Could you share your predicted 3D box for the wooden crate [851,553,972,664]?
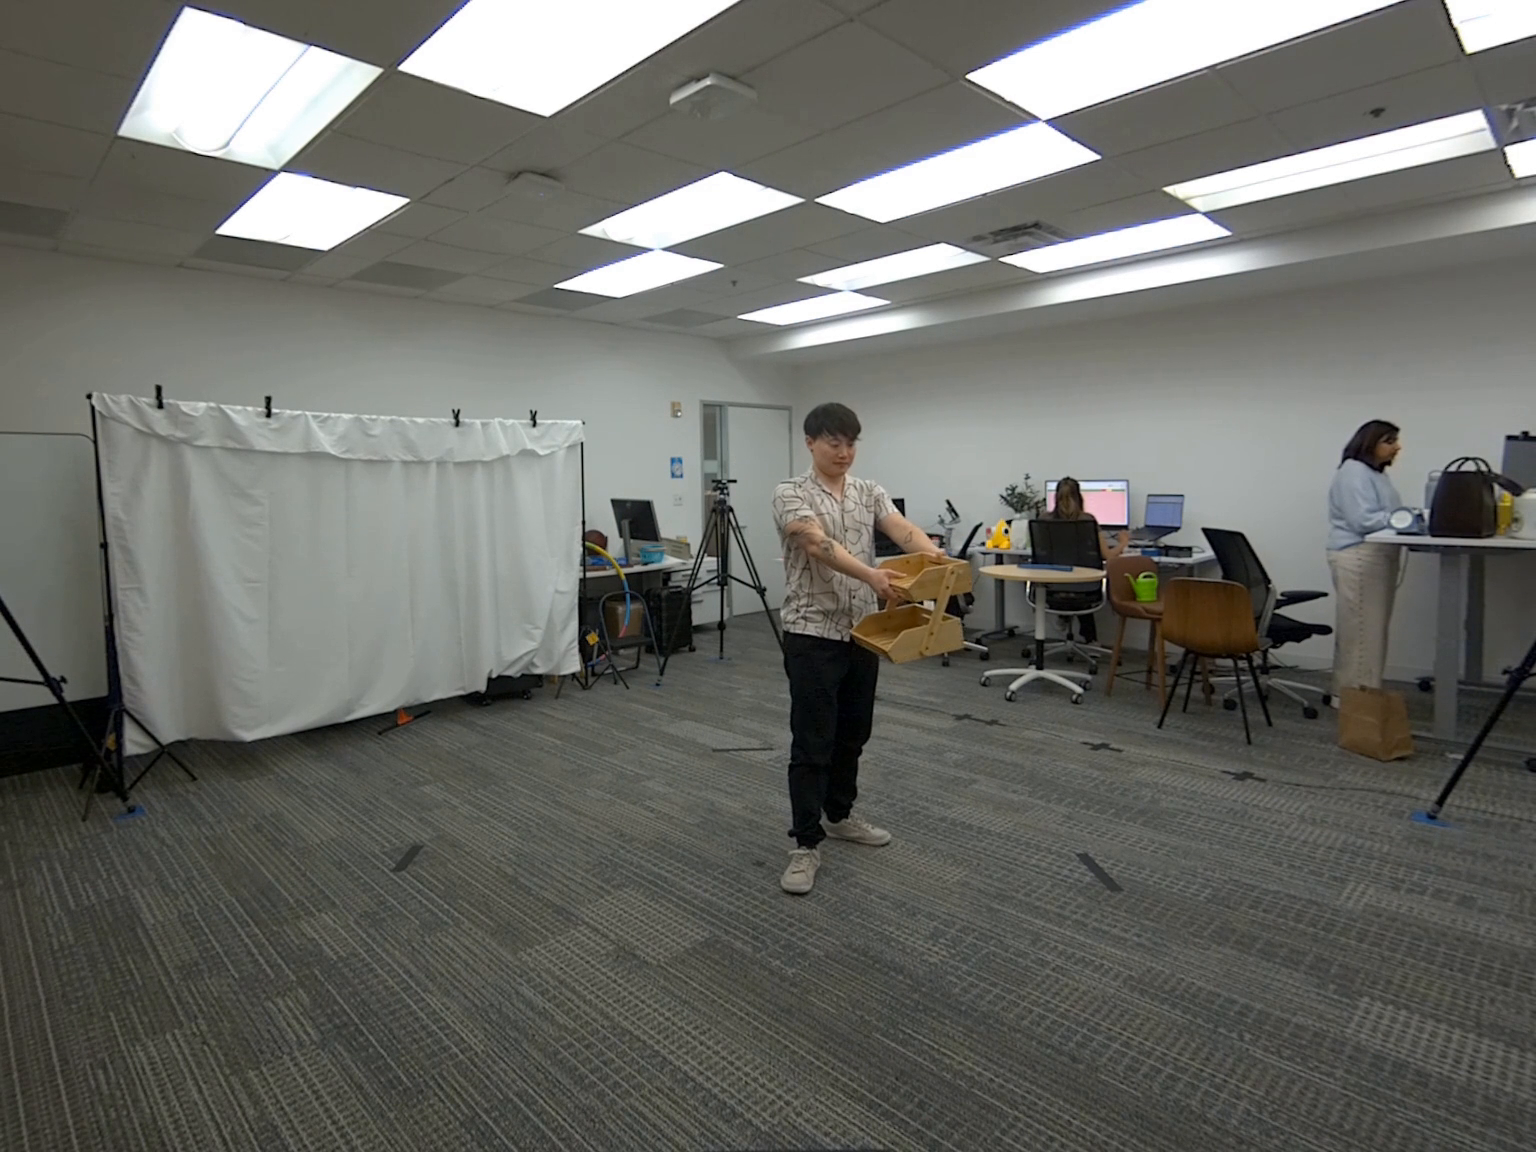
[{"bbox_3d":[0.431,0.088,2.700,0.299,0.271,0.330,-12,9,-14],"label":"wooden crate"}]
